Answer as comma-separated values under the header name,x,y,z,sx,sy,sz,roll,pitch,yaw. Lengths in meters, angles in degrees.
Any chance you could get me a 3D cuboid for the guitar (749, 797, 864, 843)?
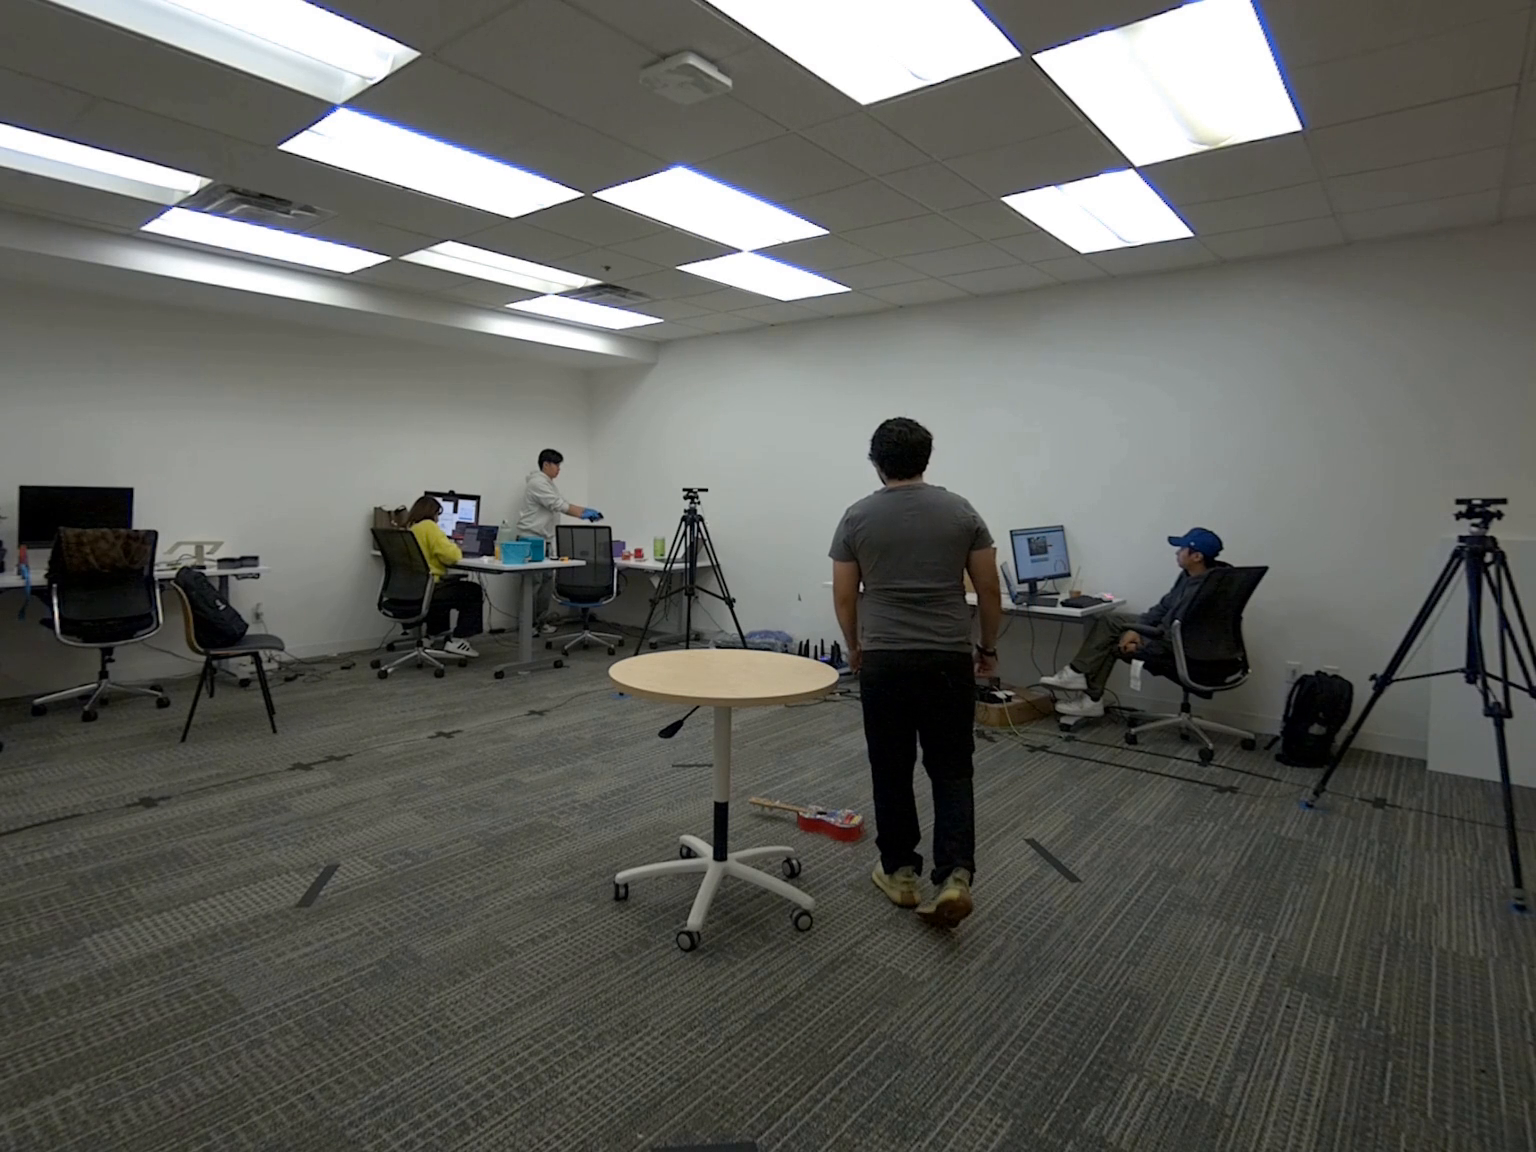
name,x,y,z,sx,sy,sz,roll,pitch,yaw
guitar,0.157,0.997,3.583,0.513,0.070,0.188,6,7,32
